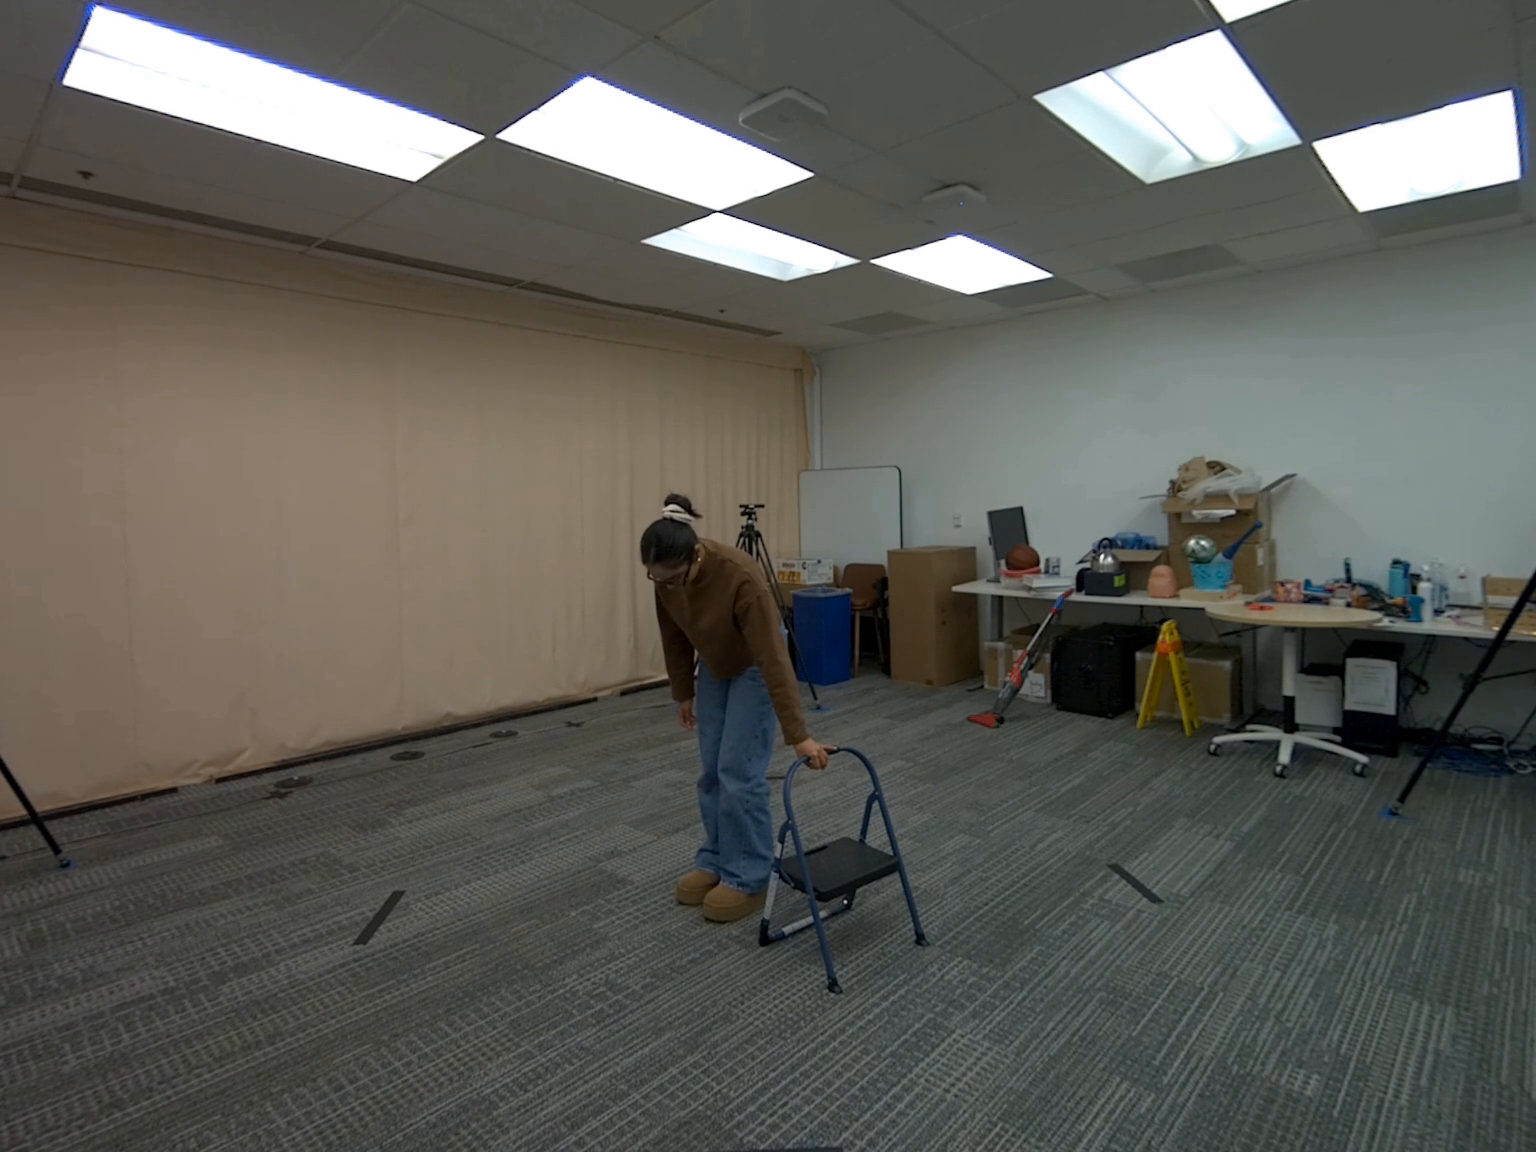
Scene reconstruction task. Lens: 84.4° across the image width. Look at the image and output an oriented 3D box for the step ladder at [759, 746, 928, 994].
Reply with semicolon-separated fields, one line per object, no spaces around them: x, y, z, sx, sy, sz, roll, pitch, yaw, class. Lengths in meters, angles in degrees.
0.237;0.860;2.641;0.417;0.605;0.360;-4;4;-41;step ladder
